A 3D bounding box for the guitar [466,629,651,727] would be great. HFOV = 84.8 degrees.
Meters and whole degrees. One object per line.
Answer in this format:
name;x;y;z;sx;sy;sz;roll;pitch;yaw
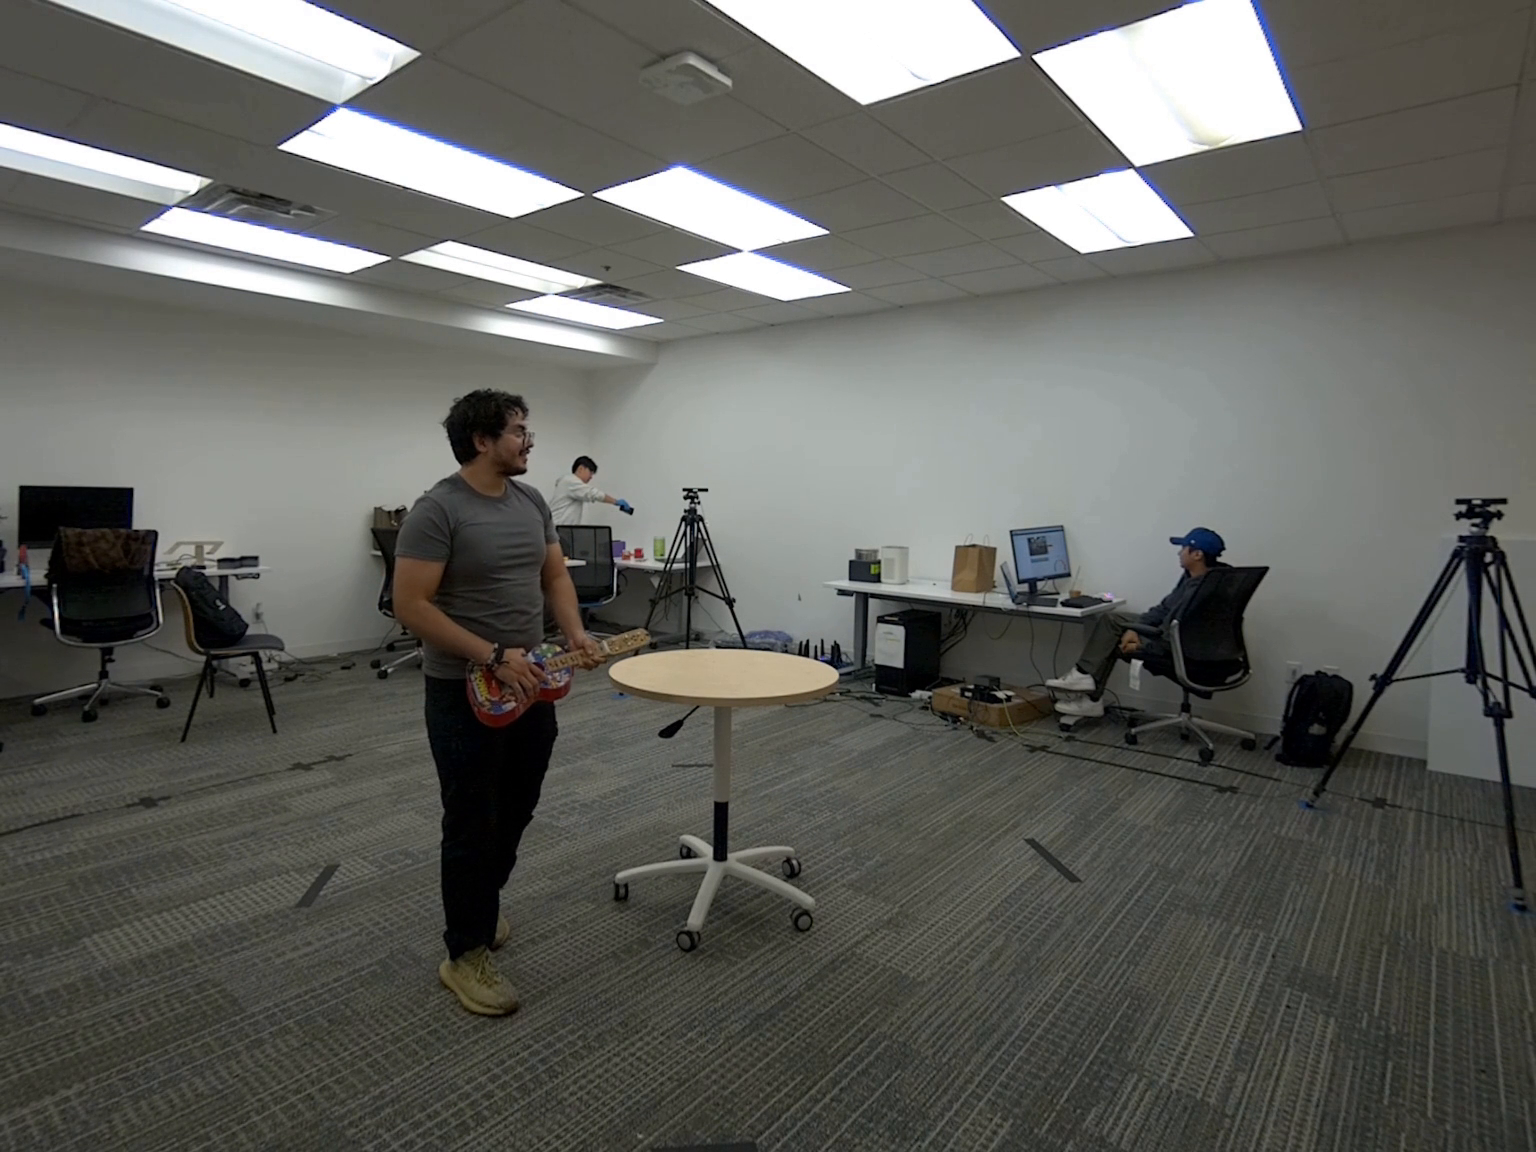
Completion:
guitar;-0.556;0.272;2.265;0.490;0.200;0.069;-7;-38;-17
